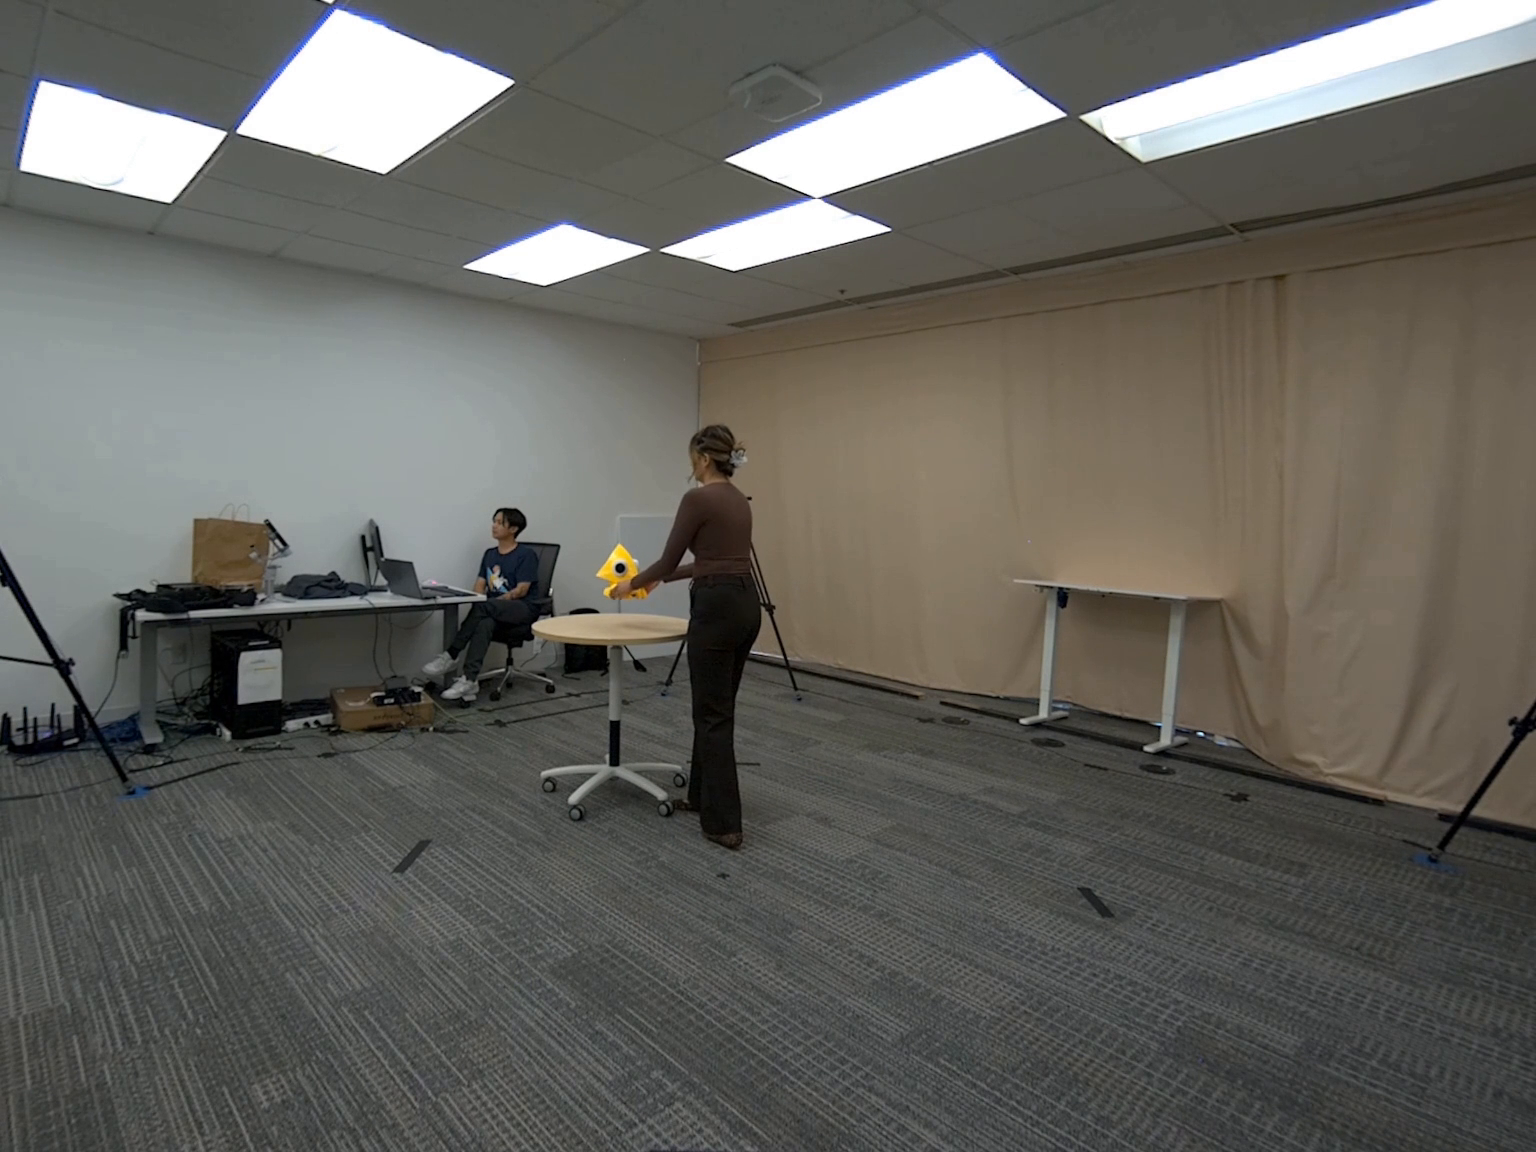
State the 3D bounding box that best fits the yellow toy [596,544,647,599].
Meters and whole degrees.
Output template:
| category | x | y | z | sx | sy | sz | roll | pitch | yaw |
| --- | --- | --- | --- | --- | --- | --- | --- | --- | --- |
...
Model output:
| category | x | y | z | sx | sy | sz | roll | pitch | yaw |
| --- | --- | --- | --- | --- | --- | --- | --- | --- | --- |
| yellow toy | -0.650 | -0.026 | 3.843 | 0.197 | 0.230 | 0.201 | 9 | 5 | 28 |
